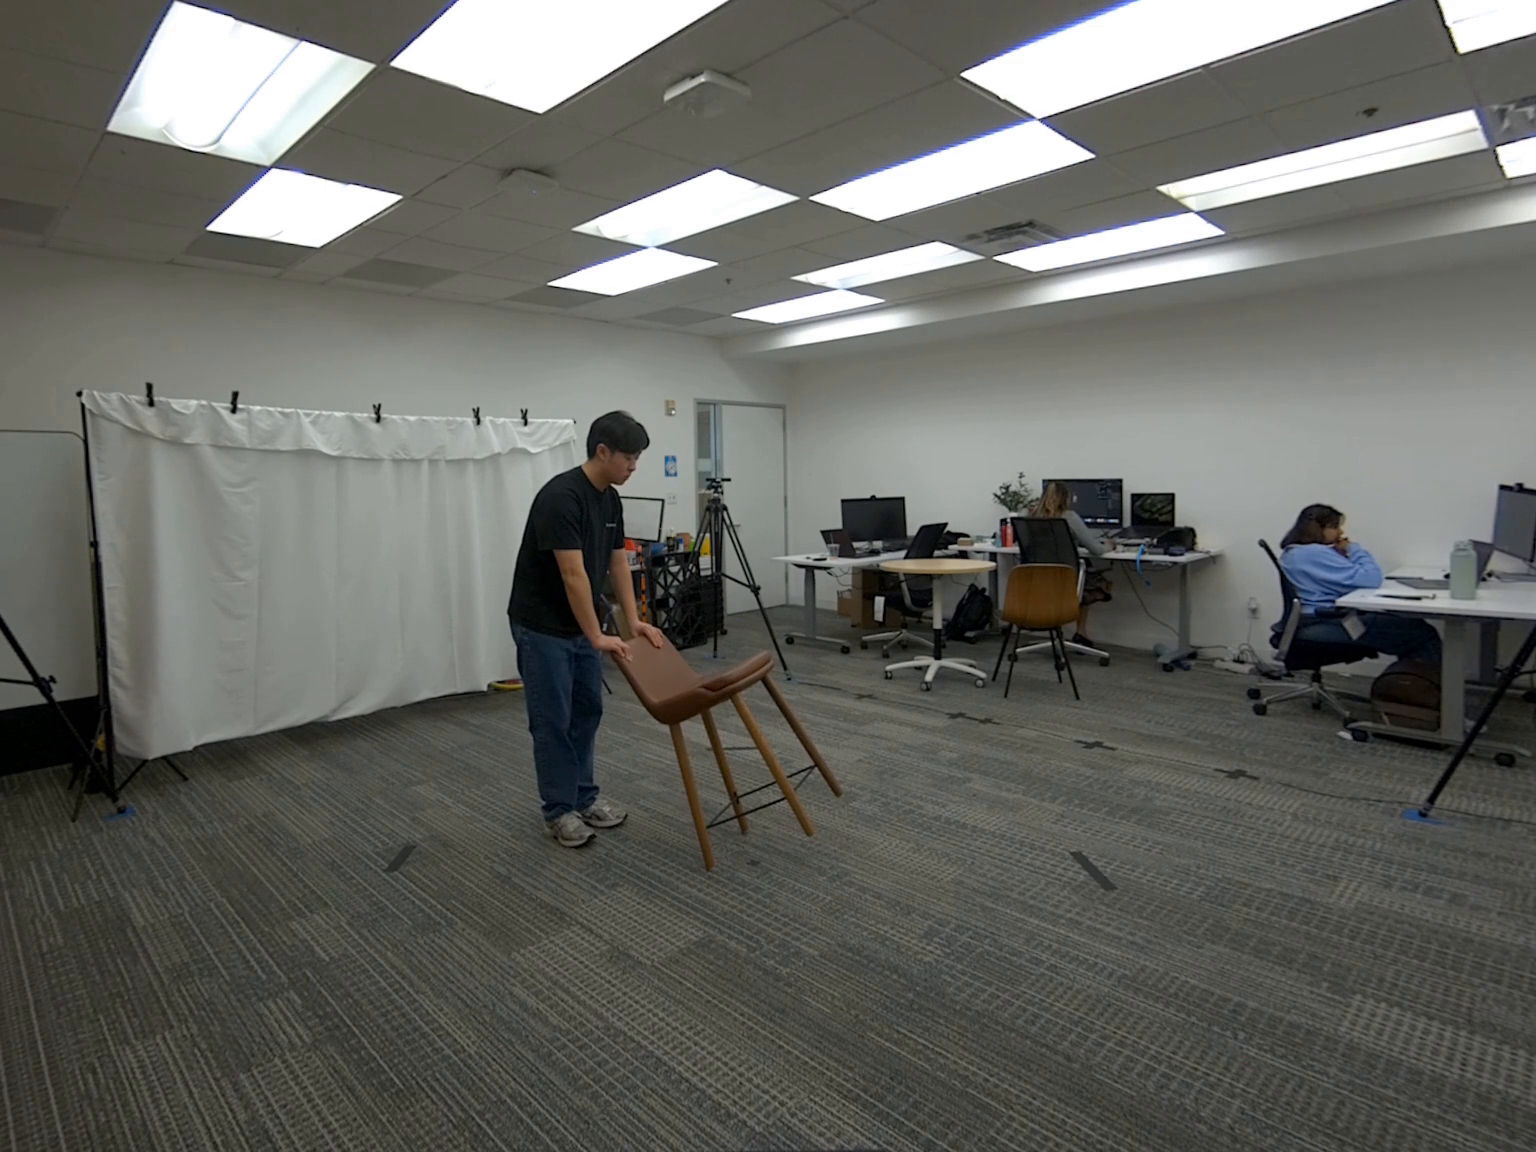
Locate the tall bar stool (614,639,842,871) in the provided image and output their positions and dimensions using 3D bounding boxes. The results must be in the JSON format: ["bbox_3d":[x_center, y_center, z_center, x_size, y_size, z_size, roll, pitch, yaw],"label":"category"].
[{"bbox_3d":[-0.157,0.552,3.188,0.471,0.898,0.449,-30,-7,22],"label":"tall bar stool"}]
